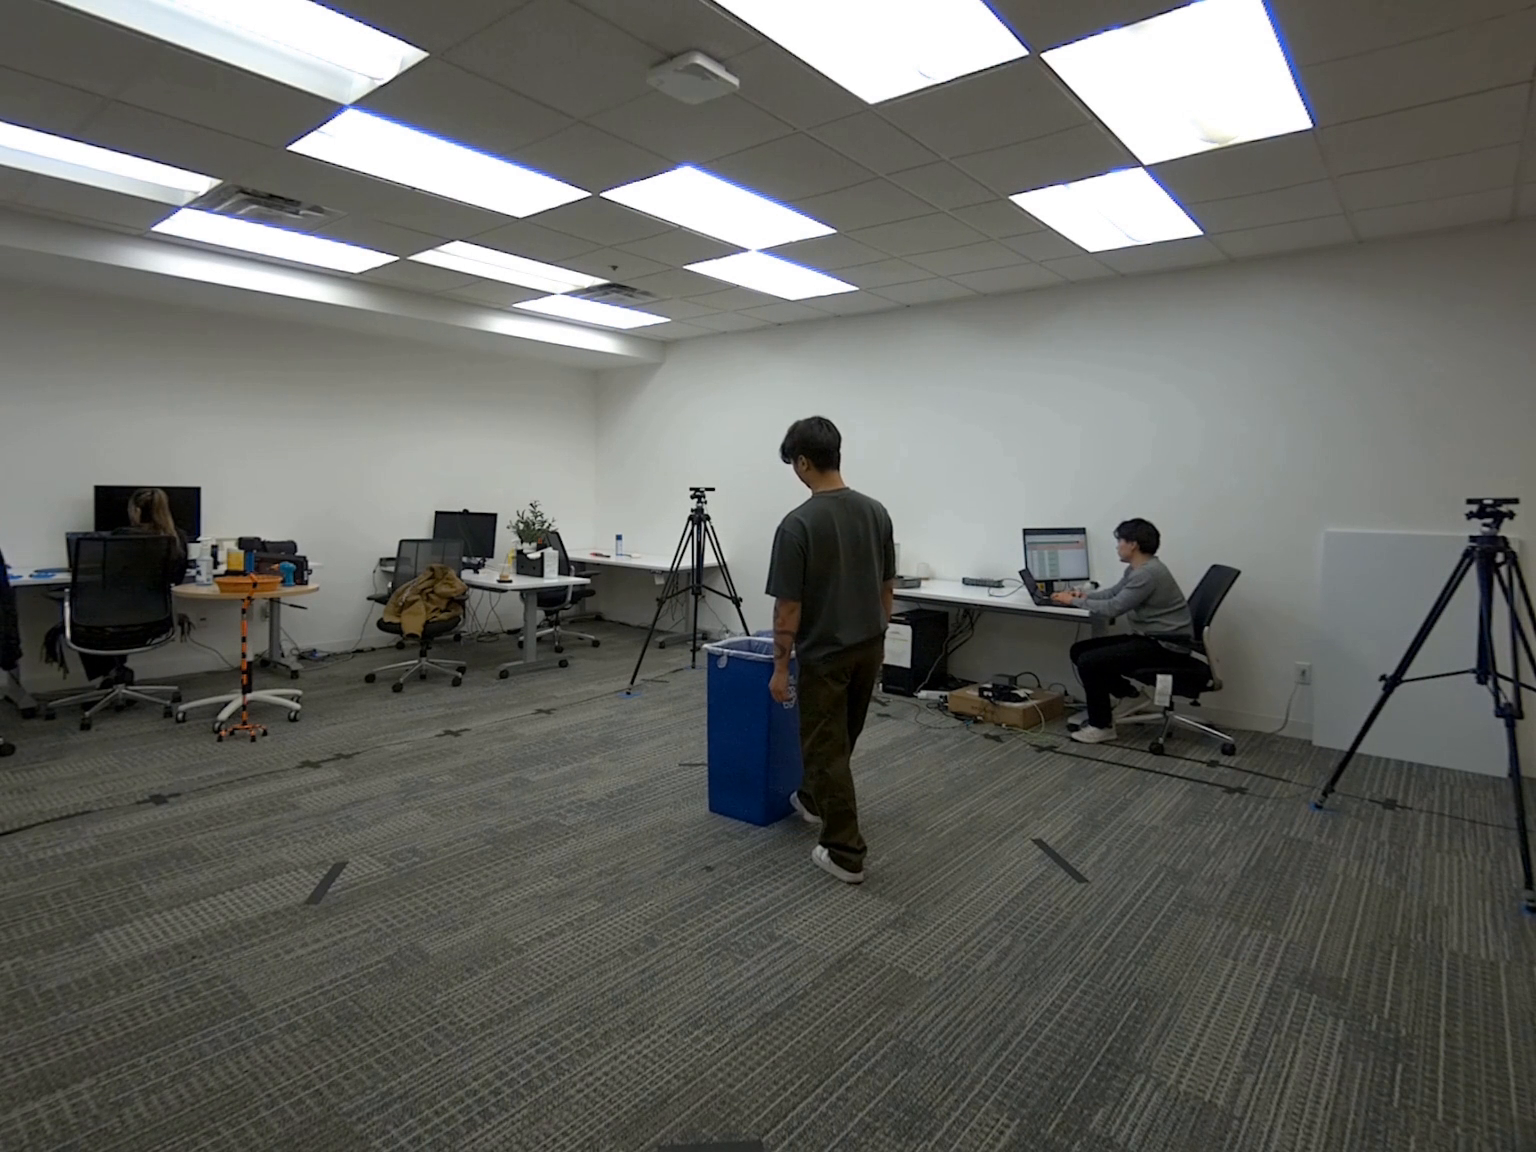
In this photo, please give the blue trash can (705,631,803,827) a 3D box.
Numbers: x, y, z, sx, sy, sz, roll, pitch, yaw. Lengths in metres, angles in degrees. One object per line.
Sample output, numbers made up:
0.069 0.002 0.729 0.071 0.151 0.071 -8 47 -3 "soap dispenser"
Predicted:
-0.061 0.655 3.689 0.386 0.712 0.367 4 3 34 "blue trash can"
